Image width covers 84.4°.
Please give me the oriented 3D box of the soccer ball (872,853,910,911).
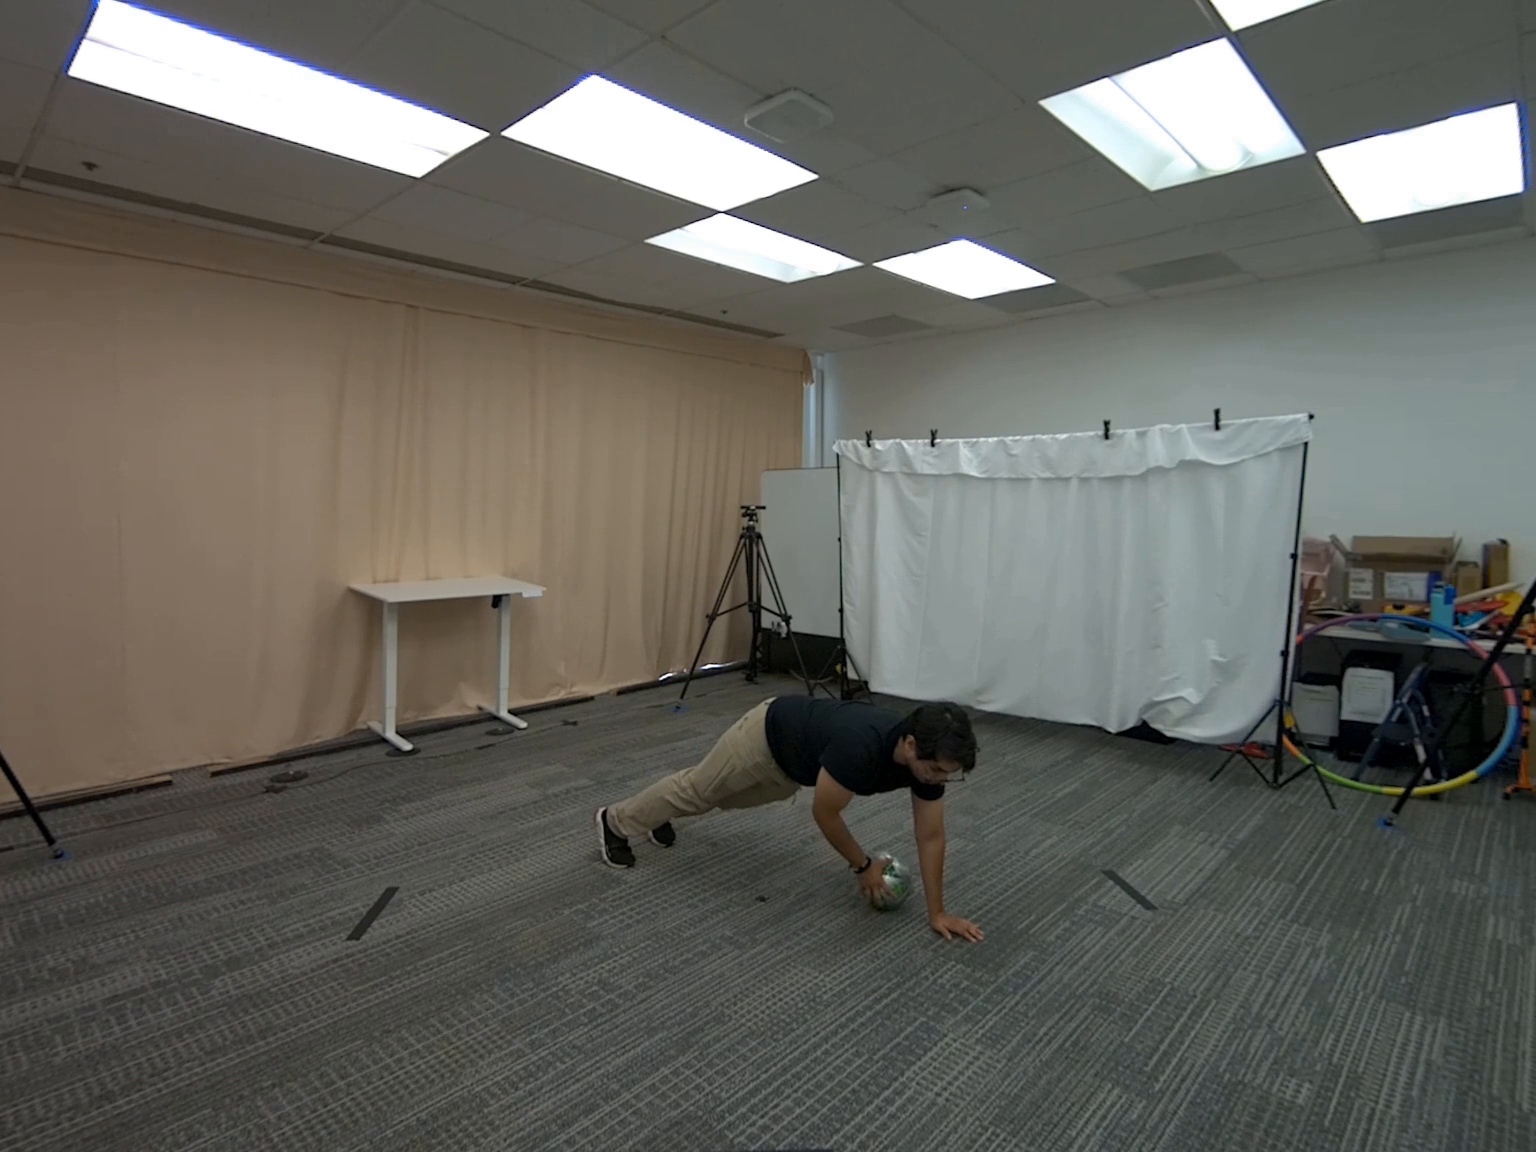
[{"bbox_3d":[0.402,1.056,2.905,0.187,0.187,0.188,0,4,-2],"label":"soccer ball"}]
